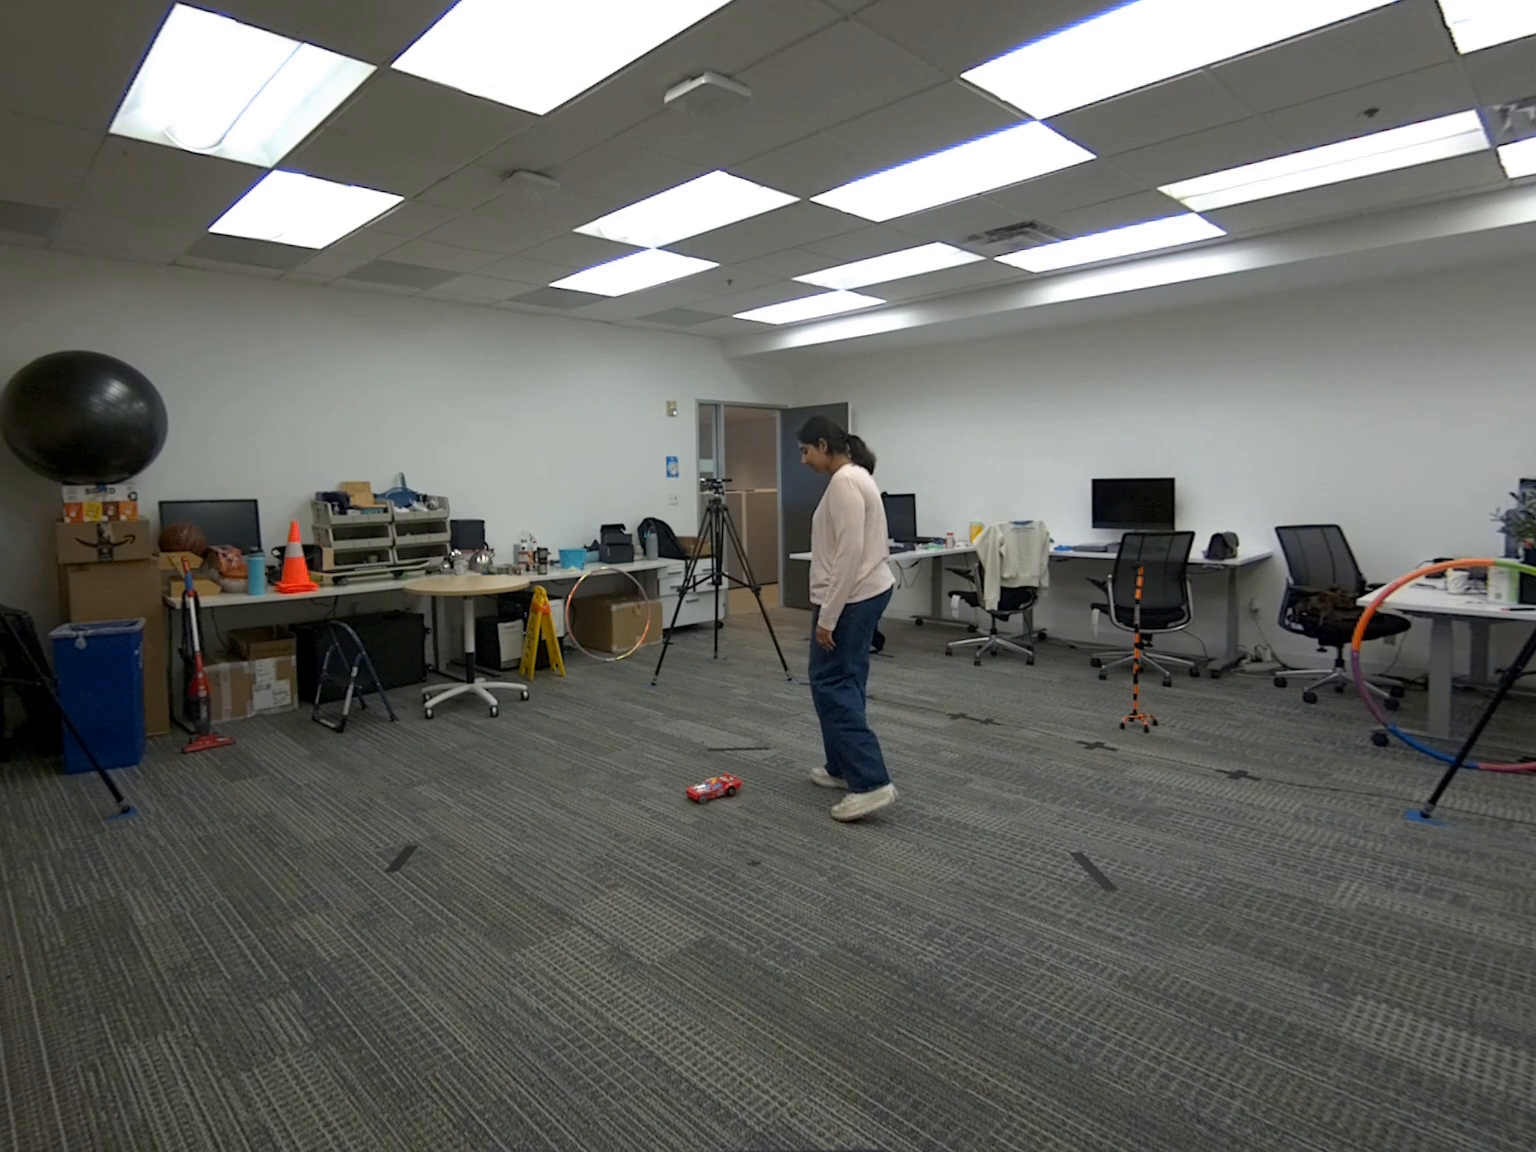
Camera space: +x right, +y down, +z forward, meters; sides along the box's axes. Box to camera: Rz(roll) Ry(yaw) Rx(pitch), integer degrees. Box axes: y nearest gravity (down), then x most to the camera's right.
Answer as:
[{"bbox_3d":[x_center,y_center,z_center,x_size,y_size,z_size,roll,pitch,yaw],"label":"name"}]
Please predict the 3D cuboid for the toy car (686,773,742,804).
[{"bbox_3d":[-0.231,0.943,3.784,0.250,0.082,0.134,-18,13,-30],"label":"toy car"}]
